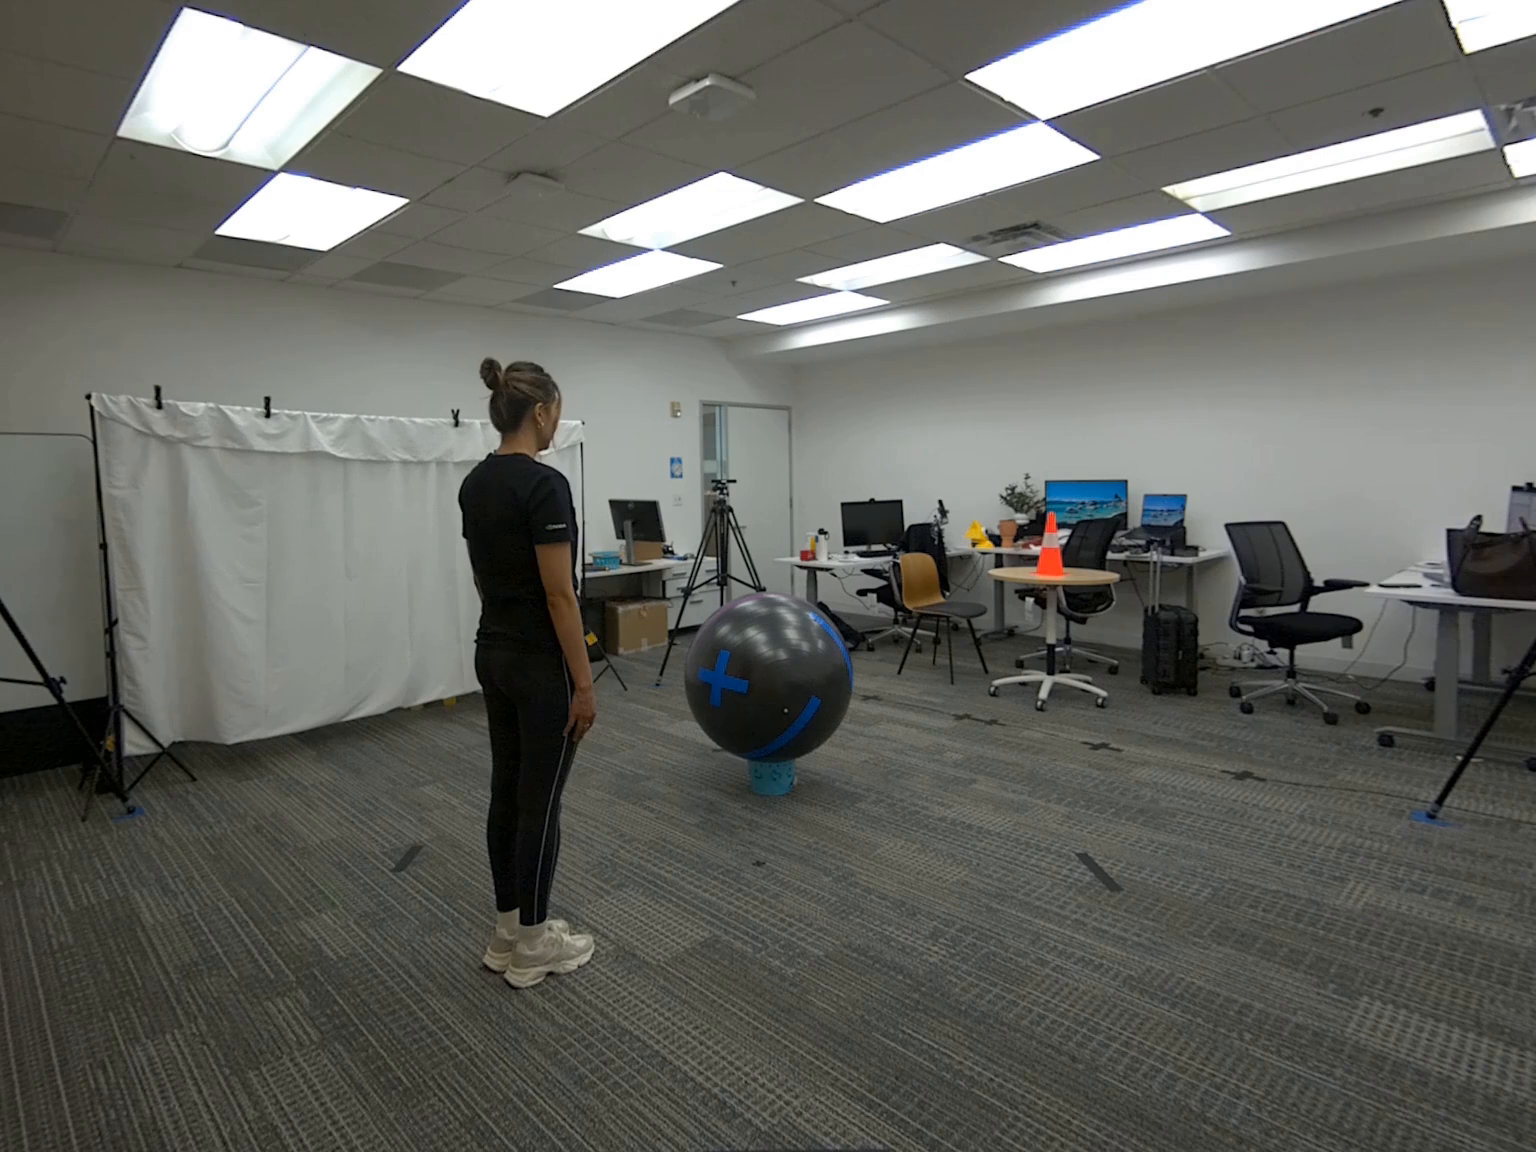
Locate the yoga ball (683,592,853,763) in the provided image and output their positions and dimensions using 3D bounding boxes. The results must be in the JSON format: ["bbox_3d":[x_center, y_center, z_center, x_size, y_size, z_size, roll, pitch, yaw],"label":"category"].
[{"bbox_3d":[0.000,0.454,3.852,0.757,0.755,0.762,-1,5,-2],"label":"yoga ball"}]
